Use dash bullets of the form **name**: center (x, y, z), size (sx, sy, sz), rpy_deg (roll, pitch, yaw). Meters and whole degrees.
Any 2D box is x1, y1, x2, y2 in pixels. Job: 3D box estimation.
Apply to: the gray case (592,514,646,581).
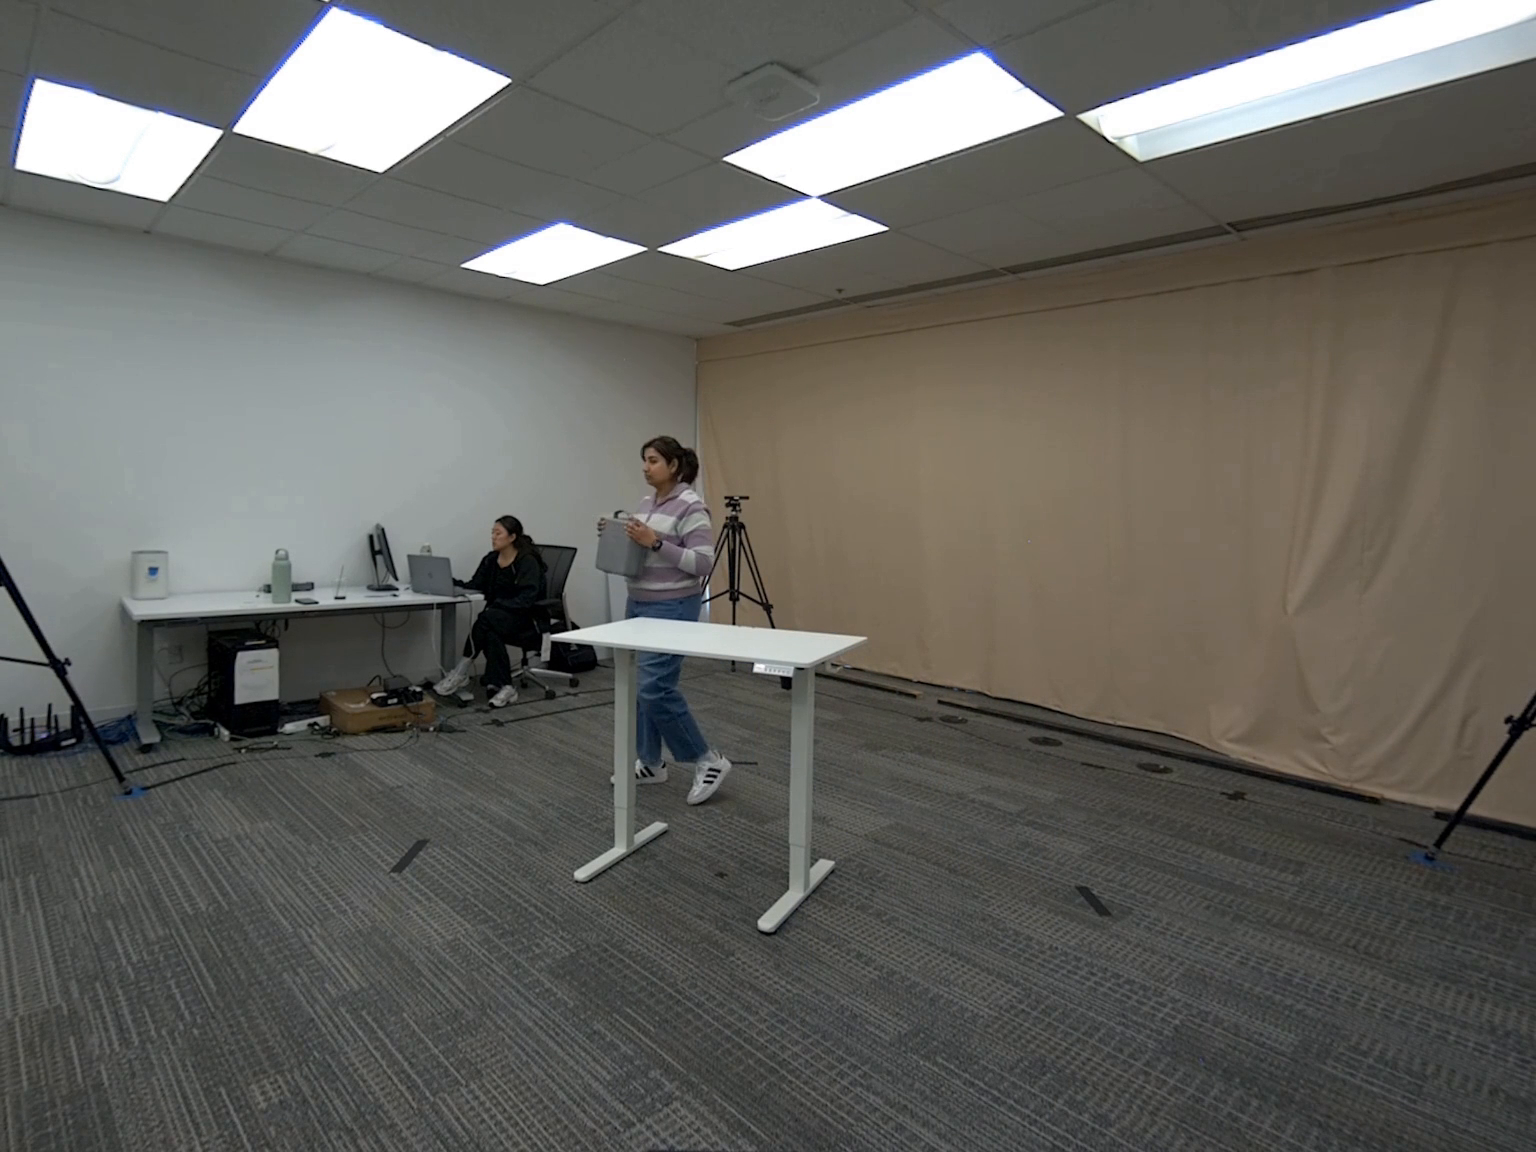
- **gray case**: center (-0.661, -0.129, 3.823), size (0.101, 0.260, 0.264), rpy_deg (9, 2, -43)
